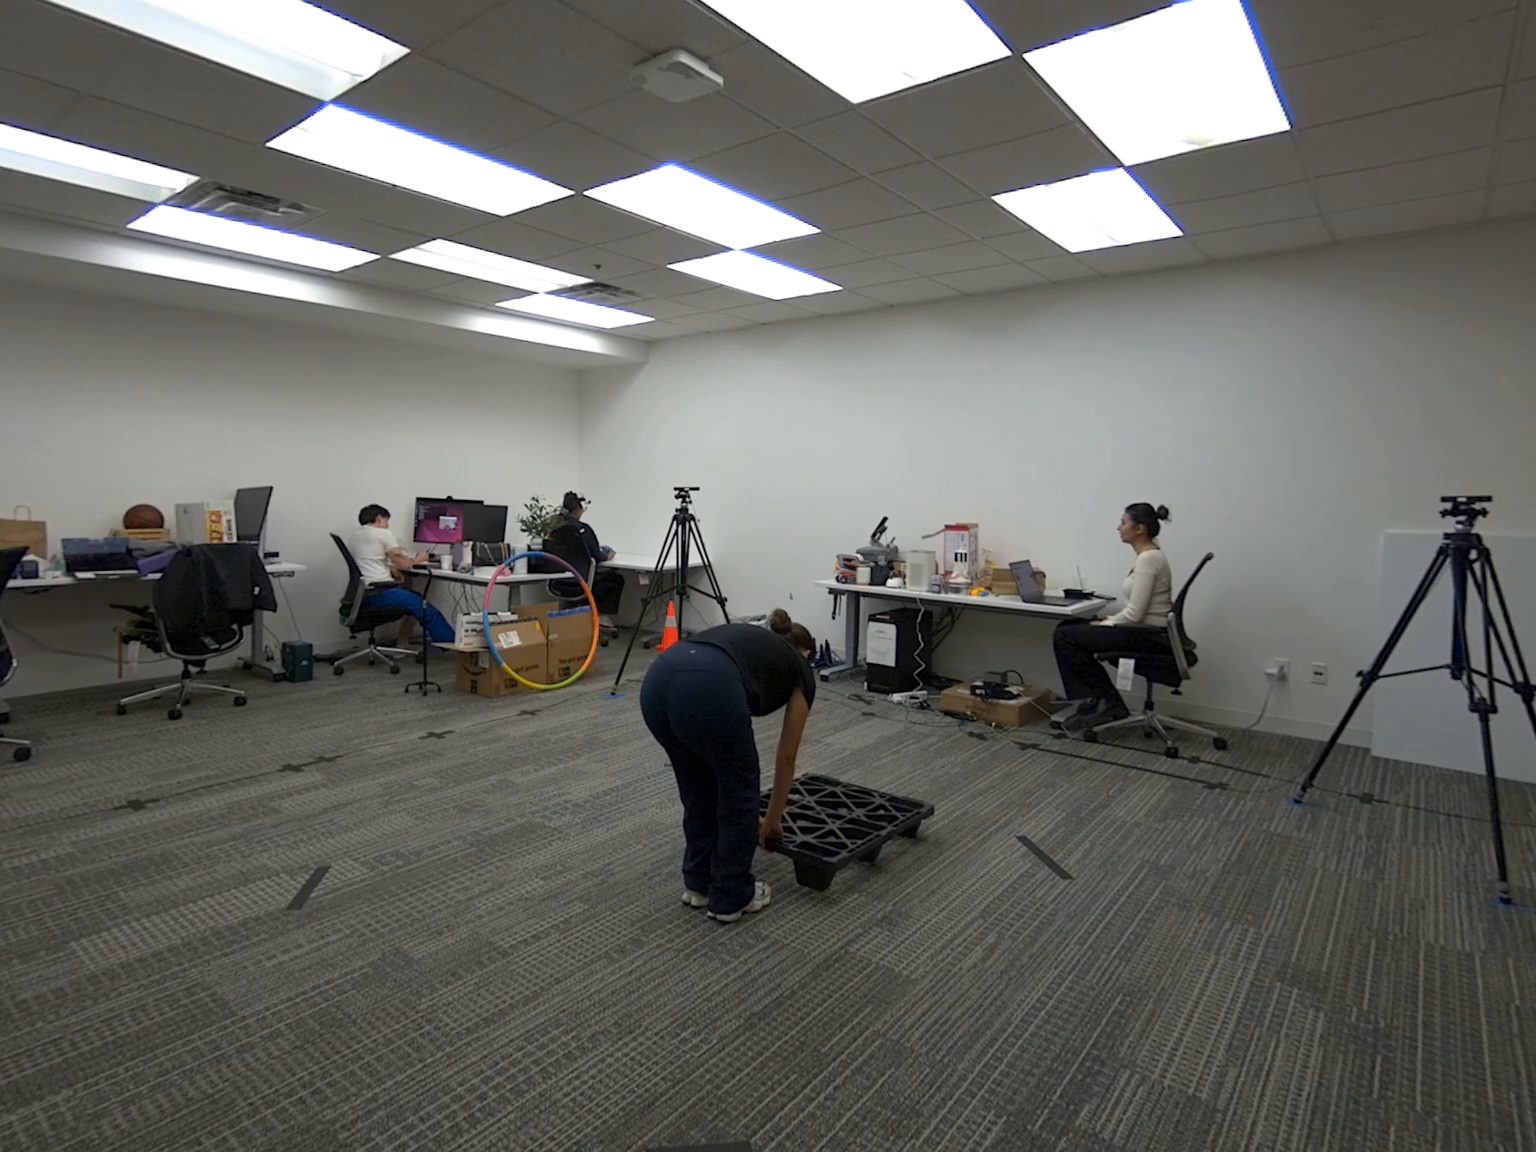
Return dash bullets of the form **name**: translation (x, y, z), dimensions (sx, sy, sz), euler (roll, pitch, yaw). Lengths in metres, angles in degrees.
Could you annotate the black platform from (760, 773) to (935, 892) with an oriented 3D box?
- **black platform**: translation (0.218, 0.973, 3.317), dimensions (0.625, 0.143, 0.781), euler (4, 4, 37)
